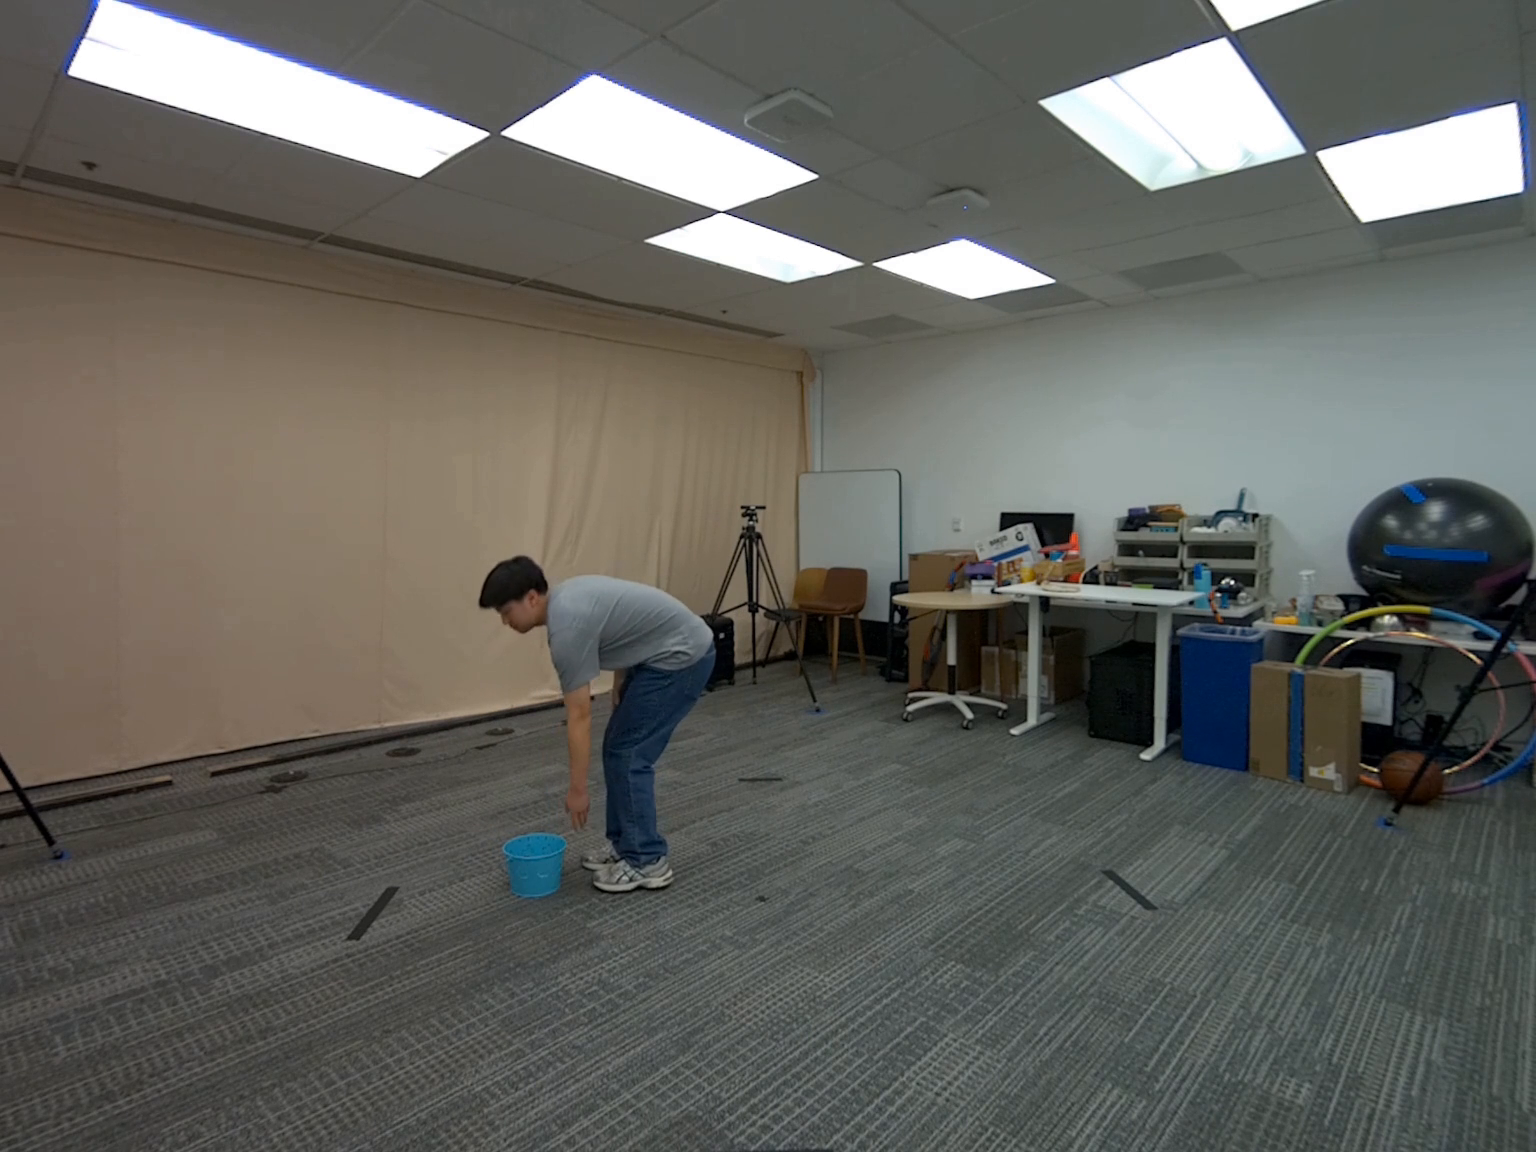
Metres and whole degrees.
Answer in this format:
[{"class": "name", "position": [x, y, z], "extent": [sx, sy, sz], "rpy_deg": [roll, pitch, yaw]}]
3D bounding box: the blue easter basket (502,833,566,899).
[{"class": "blue easter basket", "position": [-0.854, 1.065, 3.104], "extent": [0.243, 0.155, 0.244], "rpy_deg": [-1, 4, -2]}]
